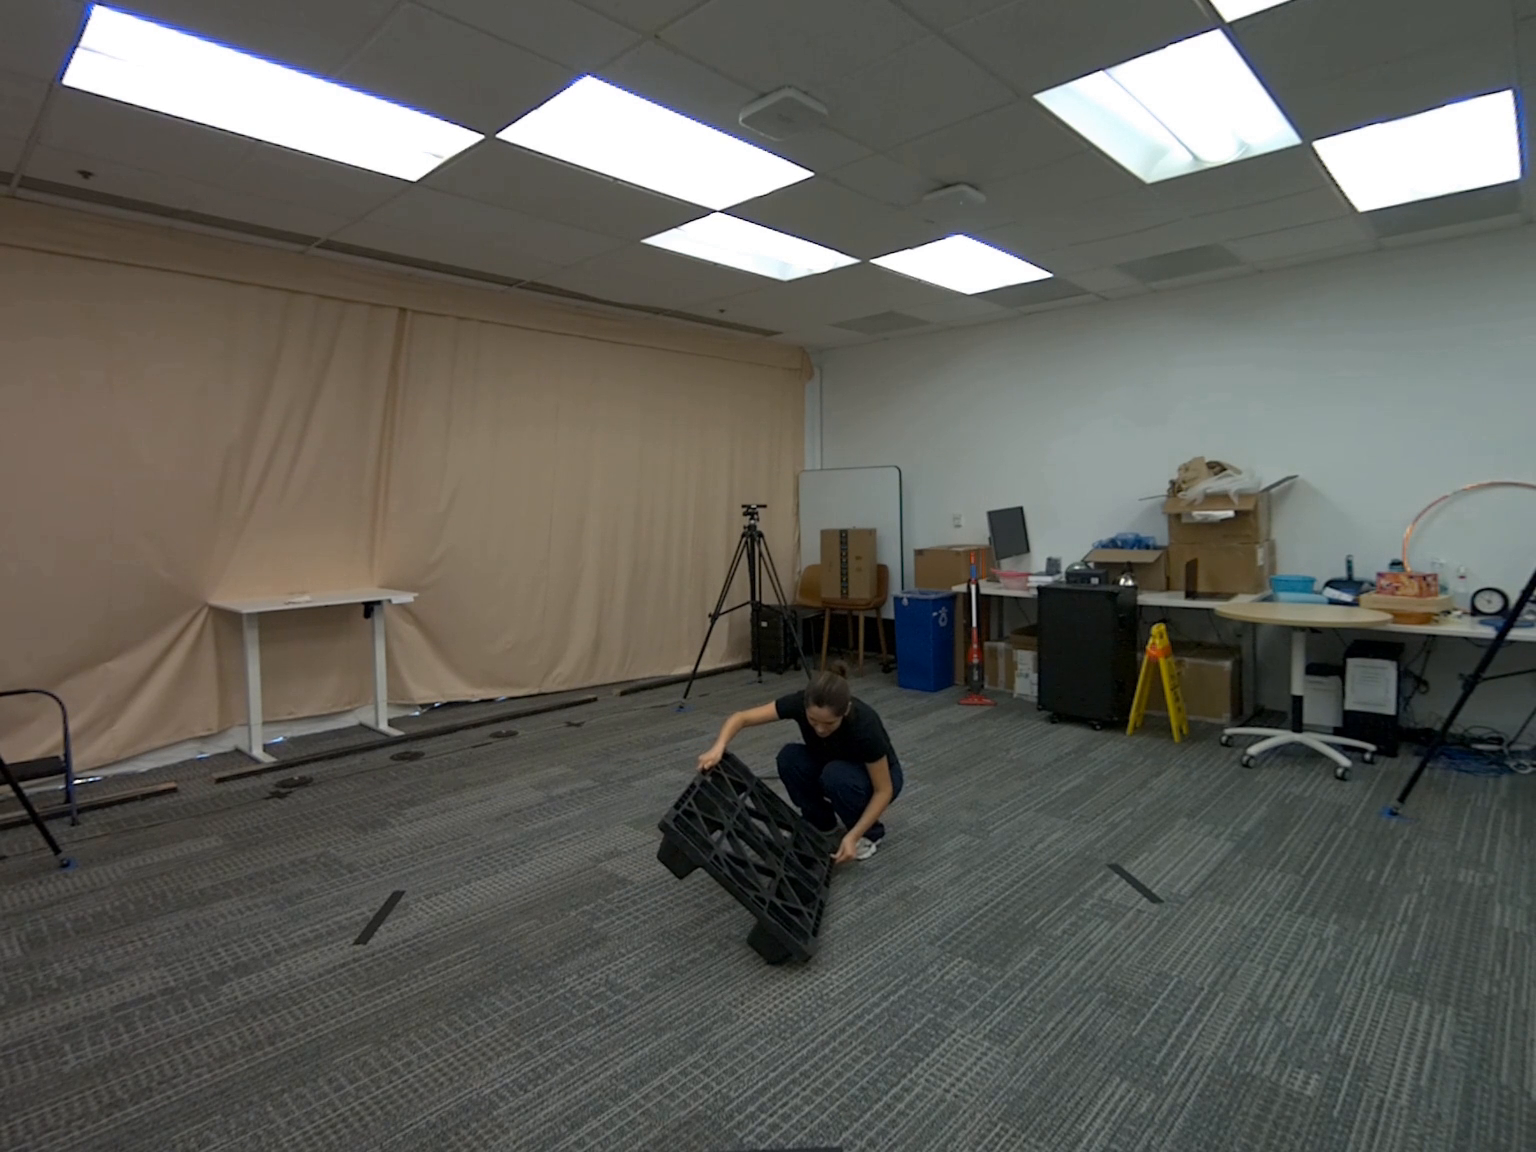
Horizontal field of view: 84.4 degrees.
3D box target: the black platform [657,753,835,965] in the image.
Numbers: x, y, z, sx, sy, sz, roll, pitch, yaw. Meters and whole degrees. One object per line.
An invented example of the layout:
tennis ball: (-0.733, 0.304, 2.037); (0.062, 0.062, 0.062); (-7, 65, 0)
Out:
black platform: (-0.059, 0.943, 2.918); (0.611, 0.143, 0.796); (40, 11, 6)
